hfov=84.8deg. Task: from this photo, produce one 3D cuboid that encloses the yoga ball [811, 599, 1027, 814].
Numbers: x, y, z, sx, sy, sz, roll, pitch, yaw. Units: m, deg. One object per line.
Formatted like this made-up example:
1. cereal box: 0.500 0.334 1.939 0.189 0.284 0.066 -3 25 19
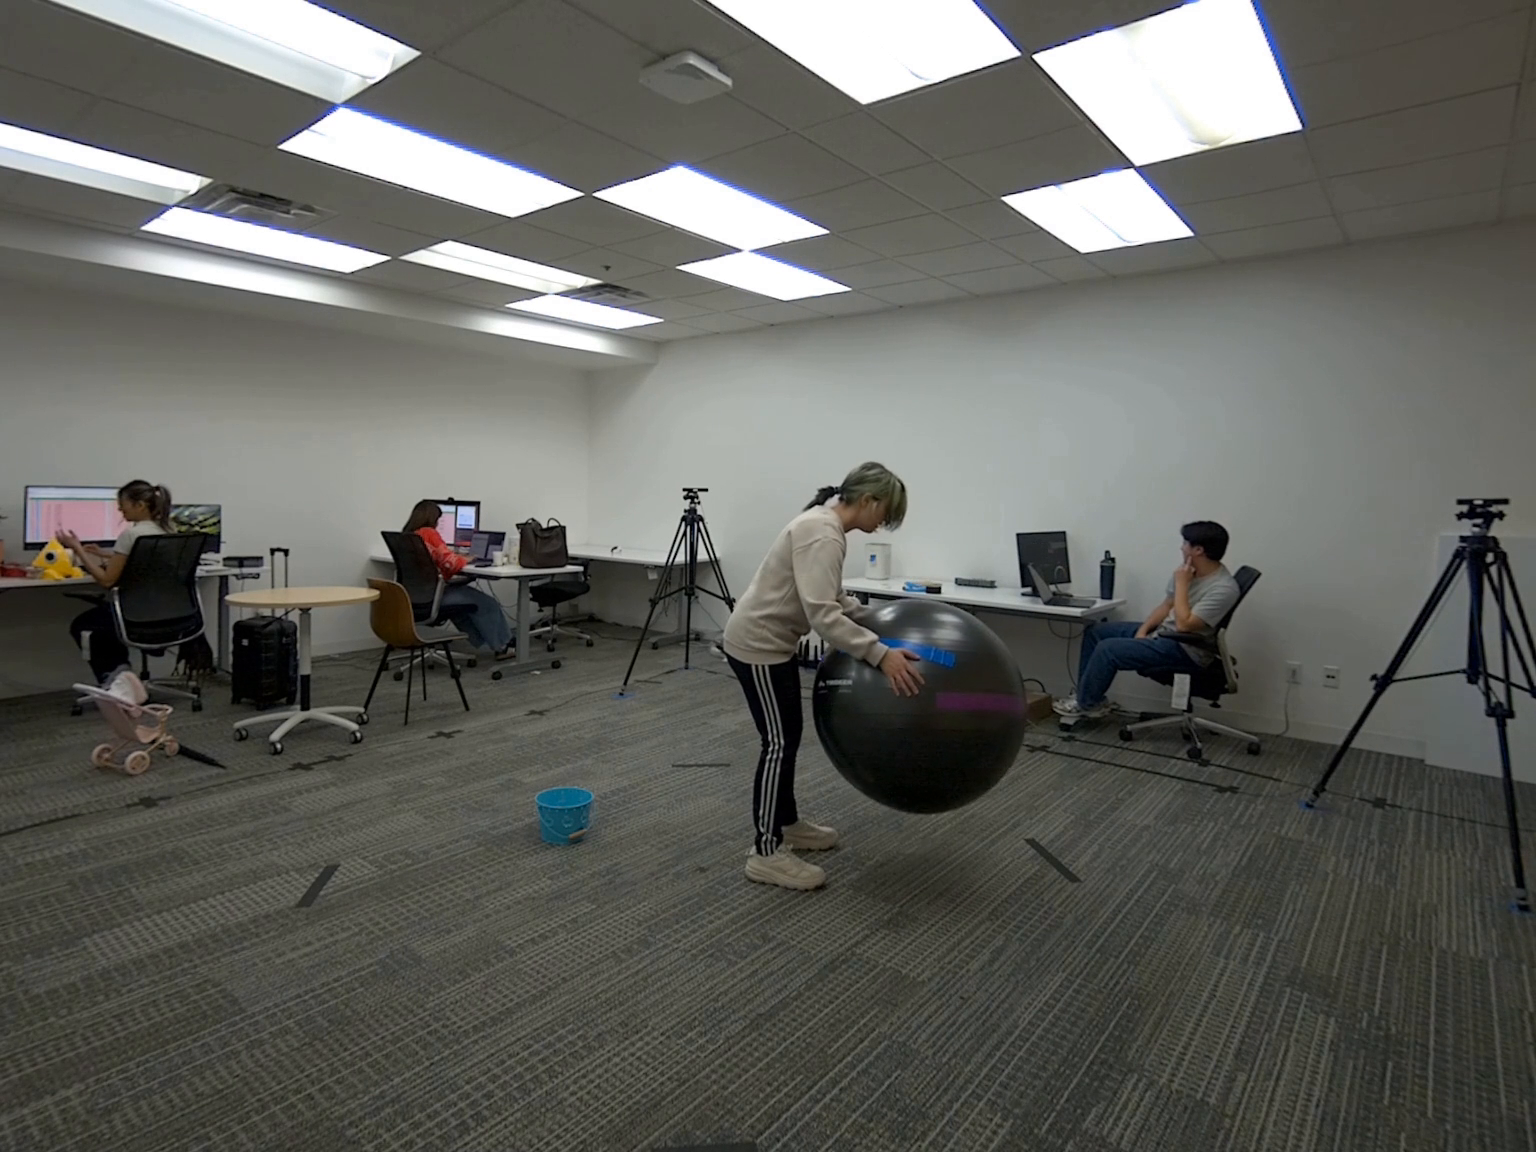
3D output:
1. yoga ball: 0.541 0.470 3.103 0.757 0.755 0.762 1 4 -2
